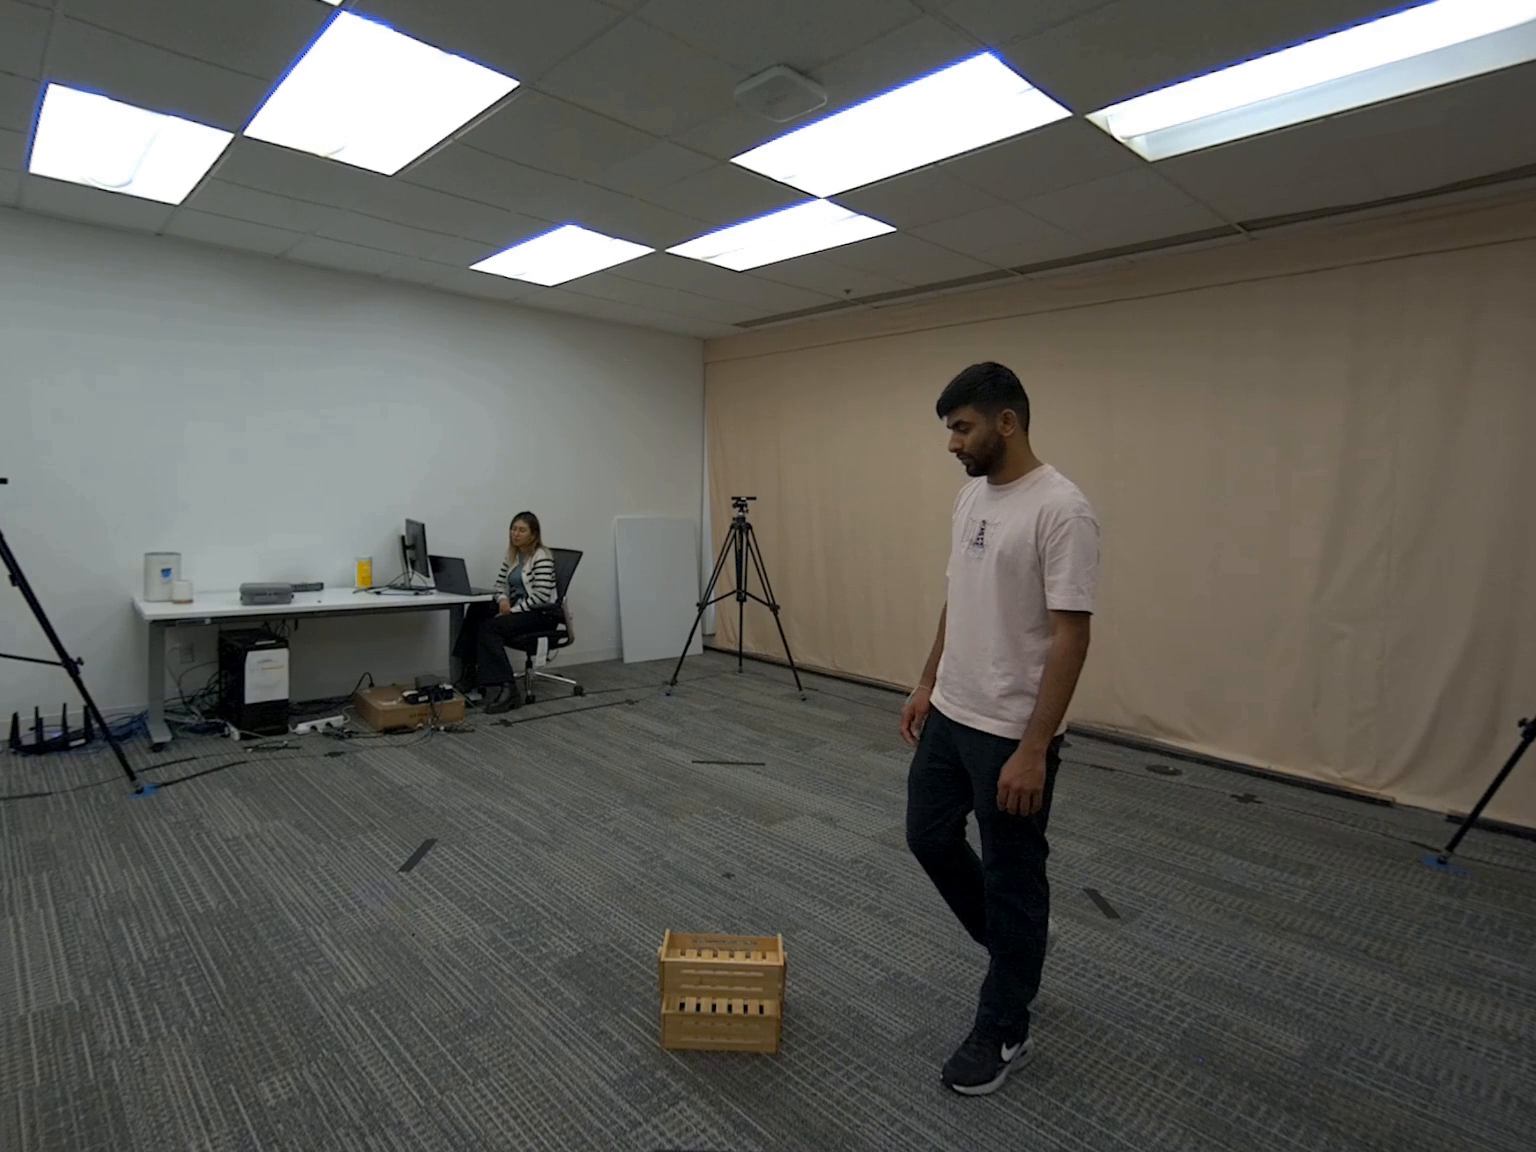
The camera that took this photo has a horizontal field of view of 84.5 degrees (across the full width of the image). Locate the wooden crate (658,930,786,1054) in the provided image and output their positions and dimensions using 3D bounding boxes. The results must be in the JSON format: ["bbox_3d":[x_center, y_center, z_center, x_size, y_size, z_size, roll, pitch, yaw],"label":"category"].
[{"bbox_3d":[-0.120,1.051,2.213,0.324,0.272,0.303,1,5,-1],"label":"wooden crate"}]
